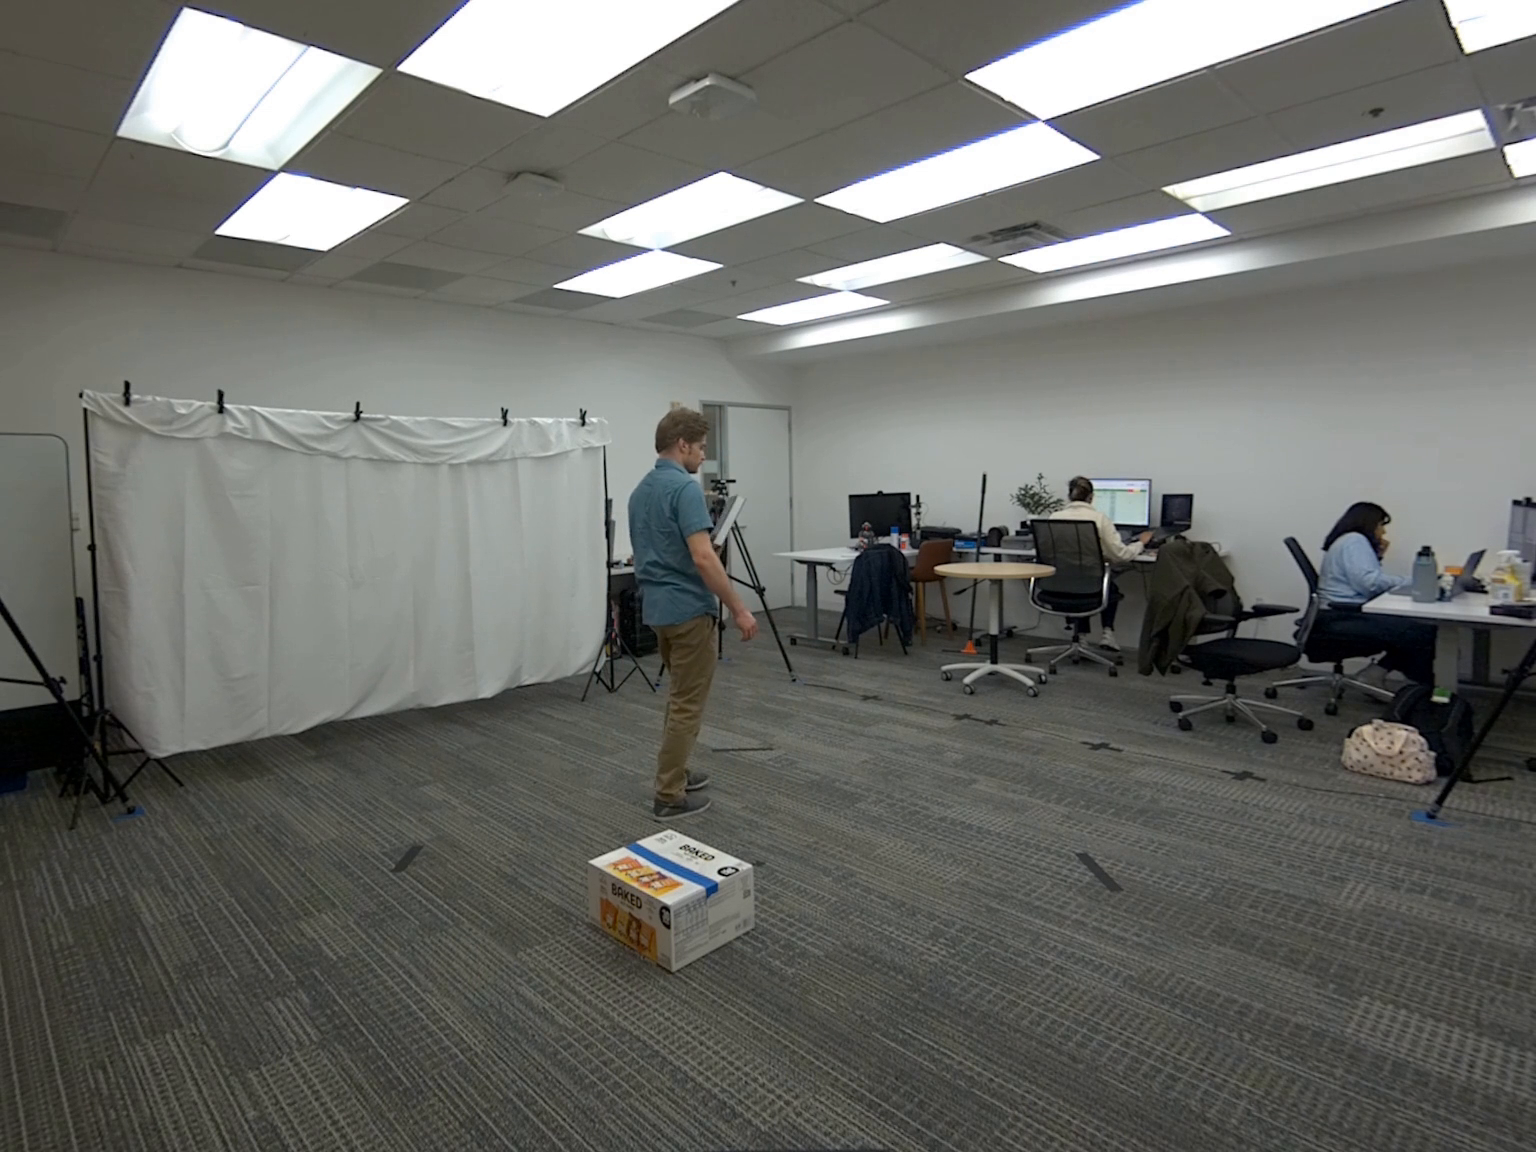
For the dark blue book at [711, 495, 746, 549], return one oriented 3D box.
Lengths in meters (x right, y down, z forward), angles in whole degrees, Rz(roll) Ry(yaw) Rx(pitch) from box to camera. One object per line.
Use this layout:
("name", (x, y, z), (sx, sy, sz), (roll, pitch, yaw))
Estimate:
("dark blue book", (-0.190, -0.251, 3.896), (0.044, 0.245, 0.165), (26, -4, -12))
